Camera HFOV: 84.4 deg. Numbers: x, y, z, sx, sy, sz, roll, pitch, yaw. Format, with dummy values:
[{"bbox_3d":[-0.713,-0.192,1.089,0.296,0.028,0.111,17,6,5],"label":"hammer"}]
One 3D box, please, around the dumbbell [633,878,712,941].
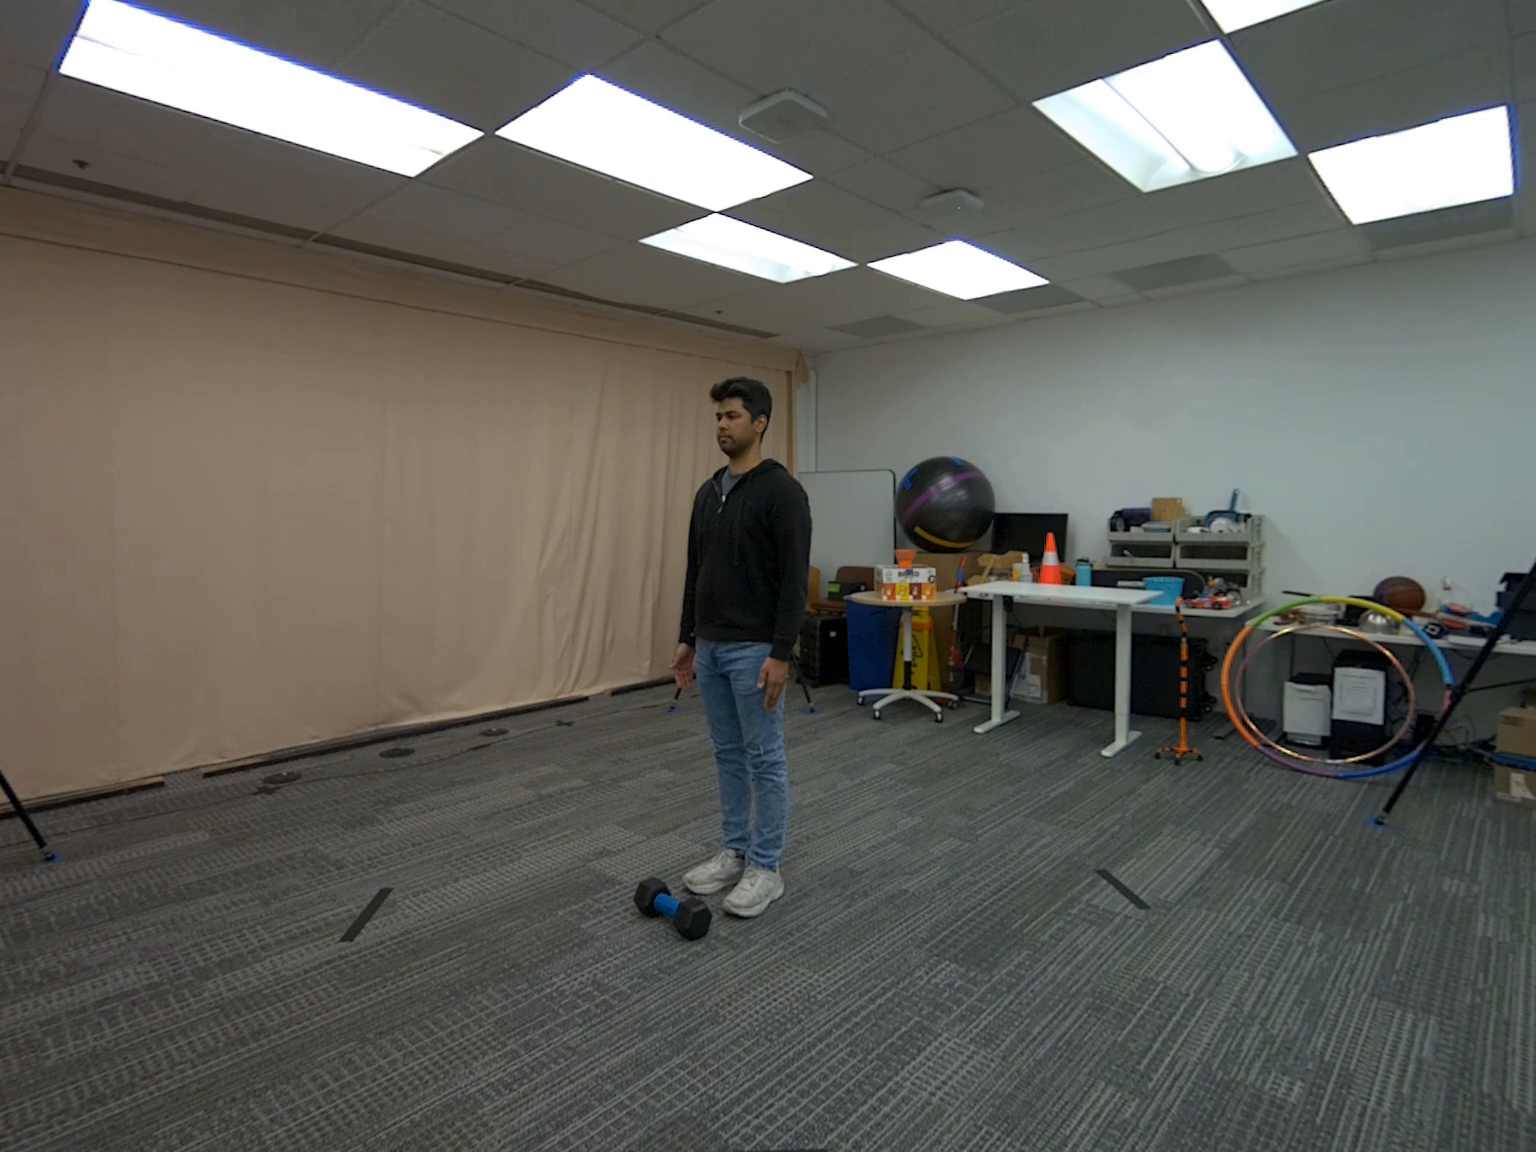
[{"bbox_3d":[-0.319,1.108,2.801,0.303,0.120,0.107,4,36,45],"label":"dumbbell"}]
